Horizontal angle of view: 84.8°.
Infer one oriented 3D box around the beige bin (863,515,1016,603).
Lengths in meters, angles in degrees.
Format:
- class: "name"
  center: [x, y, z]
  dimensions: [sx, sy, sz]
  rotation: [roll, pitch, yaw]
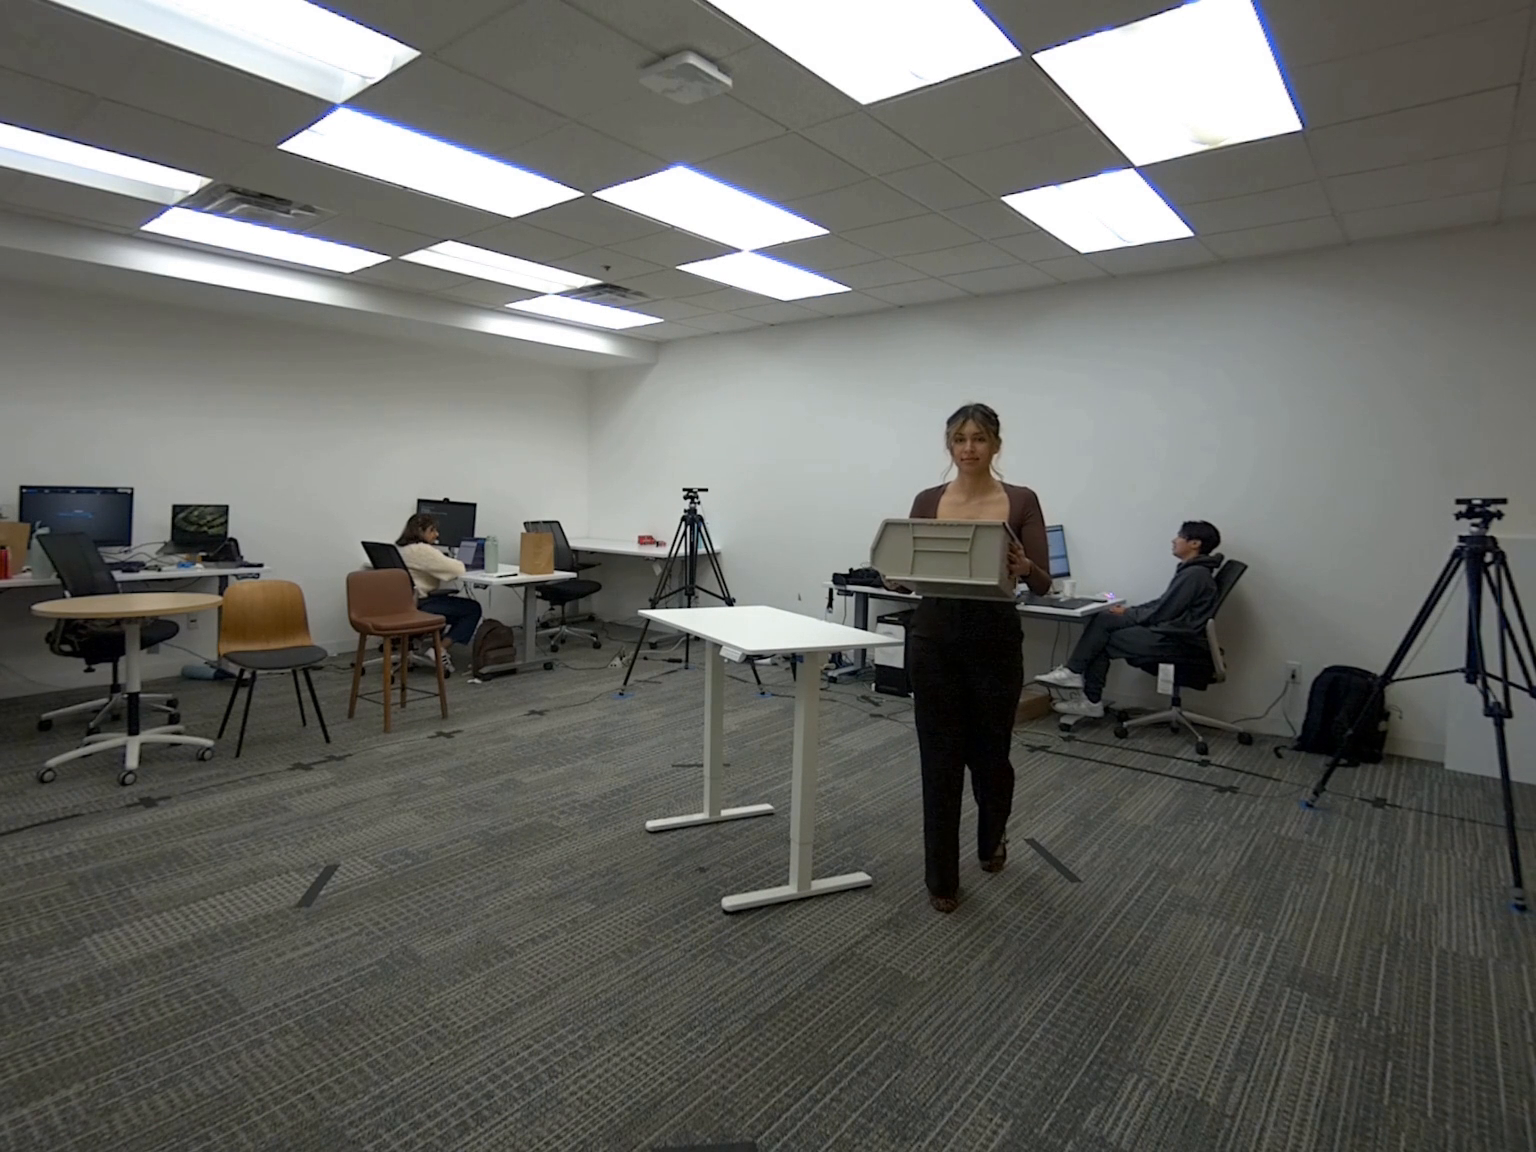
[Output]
- class: "beige bin"
  center: [0.543, -0.044, 2.595]
  dimensions: [0.387, 0.190, 0.409]
  rotation: [5, -7, 24]
